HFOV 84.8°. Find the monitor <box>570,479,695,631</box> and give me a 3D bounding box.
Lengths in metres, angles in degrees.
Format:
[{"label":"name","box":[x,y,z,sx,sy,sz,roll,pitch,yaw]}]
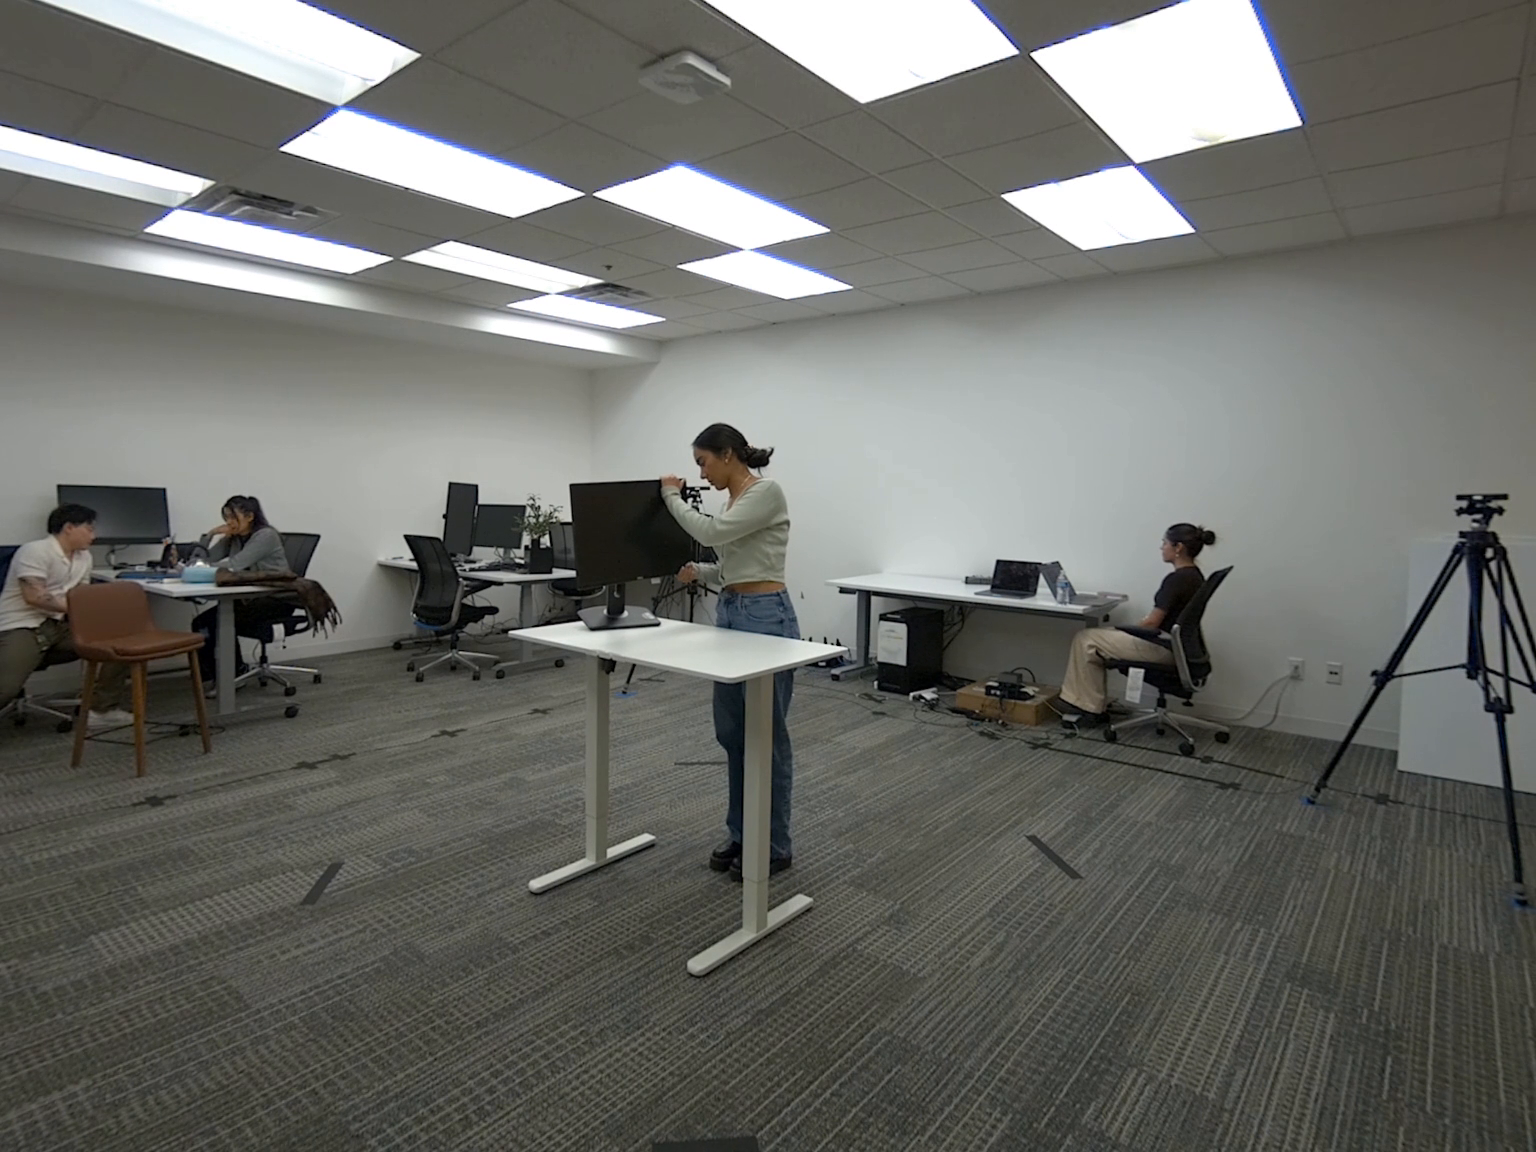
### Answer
[{"label":"monitor","box":[-0.520,-0.086,3.047,0.194,0.517,0.524,17,17,37]}]
